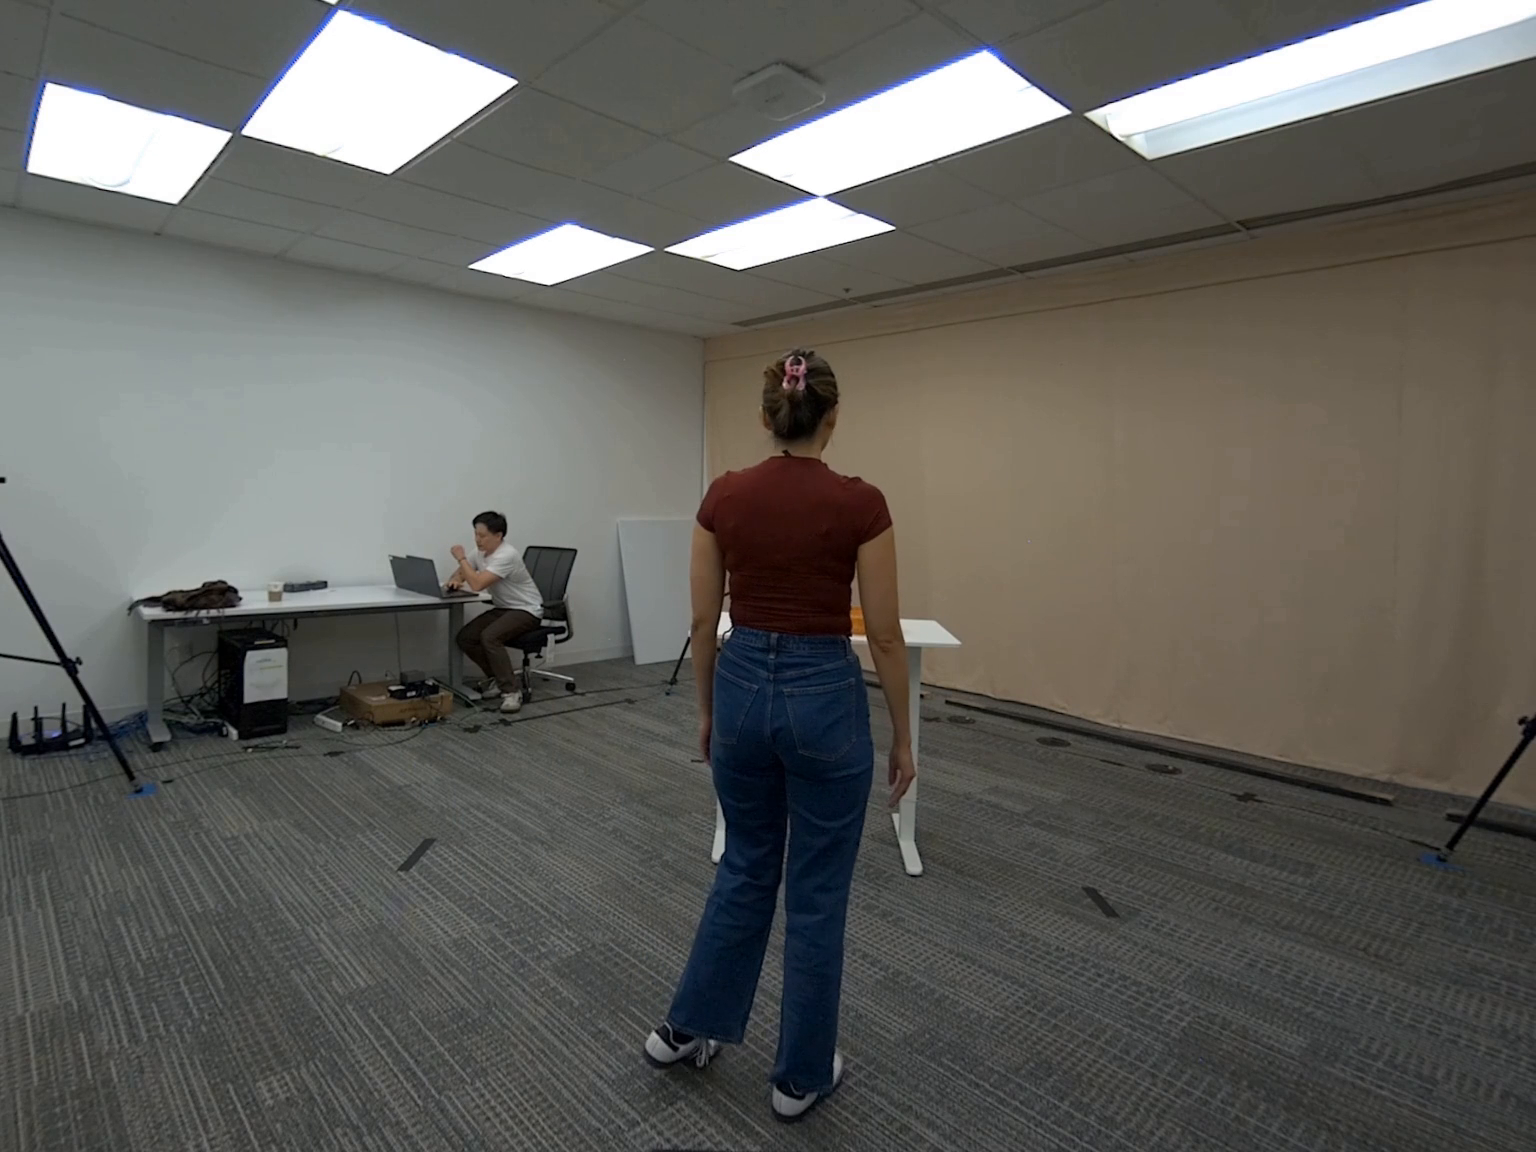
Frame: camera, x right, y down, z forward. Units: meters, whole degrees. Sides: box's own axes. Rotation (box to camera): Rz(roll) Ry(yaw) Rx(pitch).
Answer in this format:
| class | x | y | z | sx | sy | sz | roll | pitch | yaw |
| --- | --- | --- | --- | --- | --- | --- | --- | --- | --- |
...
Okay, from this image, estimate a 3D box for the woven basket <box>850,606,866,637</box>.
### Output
| class | x | y | z | sx | sy | sz | roll | pitch | yaw |
| --- | --- | --- | --- | --- | --- | --- | --- | --- | --- |
| woven basket | 0.350 | 0.183 | 3.337 | 0.252 | 0.073 | 0.352 | 2 | 5 | -4 |
